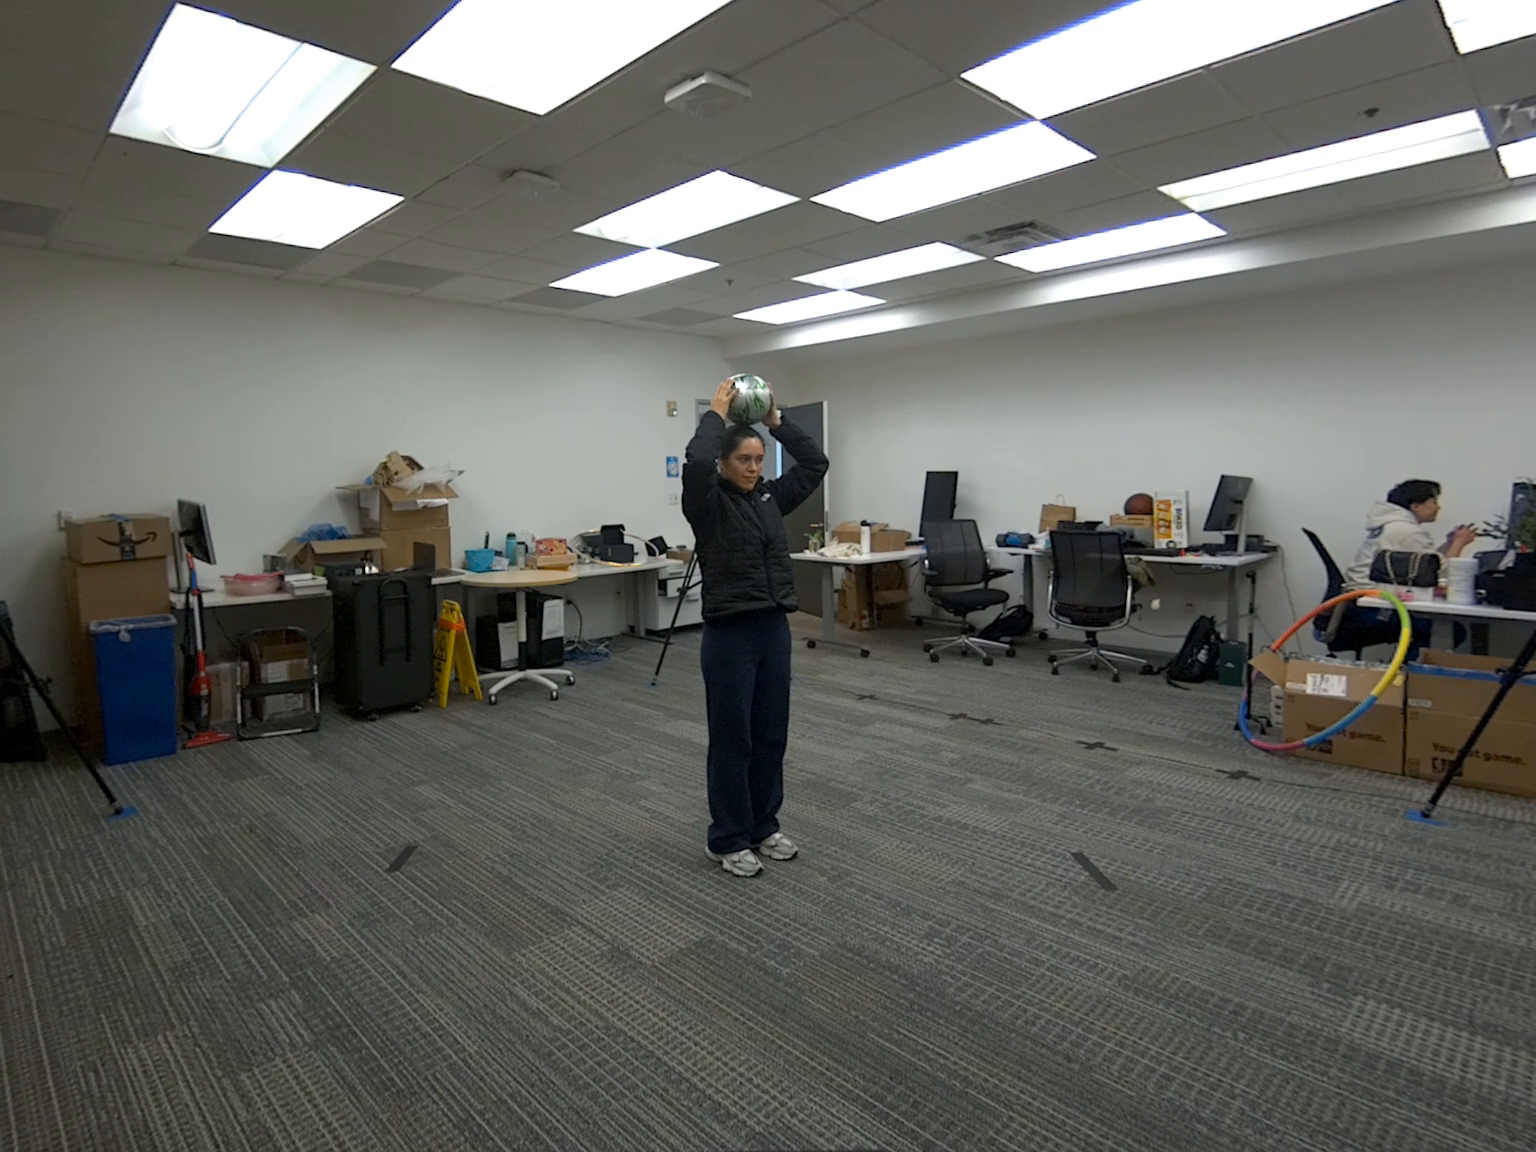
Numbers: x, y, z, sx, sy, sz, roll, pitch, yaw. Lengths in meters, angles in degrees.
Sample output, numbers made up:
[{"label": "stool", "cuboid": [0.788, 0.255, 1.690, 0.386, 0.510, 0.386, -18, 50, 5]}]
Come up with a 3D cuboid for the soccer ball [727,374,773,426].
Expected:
[{"label": "soccer ball", "cuboid": [-0.086, -0.639, 3.100, 0.187, 0.187, 0.188, -1, 5, -2]}]
